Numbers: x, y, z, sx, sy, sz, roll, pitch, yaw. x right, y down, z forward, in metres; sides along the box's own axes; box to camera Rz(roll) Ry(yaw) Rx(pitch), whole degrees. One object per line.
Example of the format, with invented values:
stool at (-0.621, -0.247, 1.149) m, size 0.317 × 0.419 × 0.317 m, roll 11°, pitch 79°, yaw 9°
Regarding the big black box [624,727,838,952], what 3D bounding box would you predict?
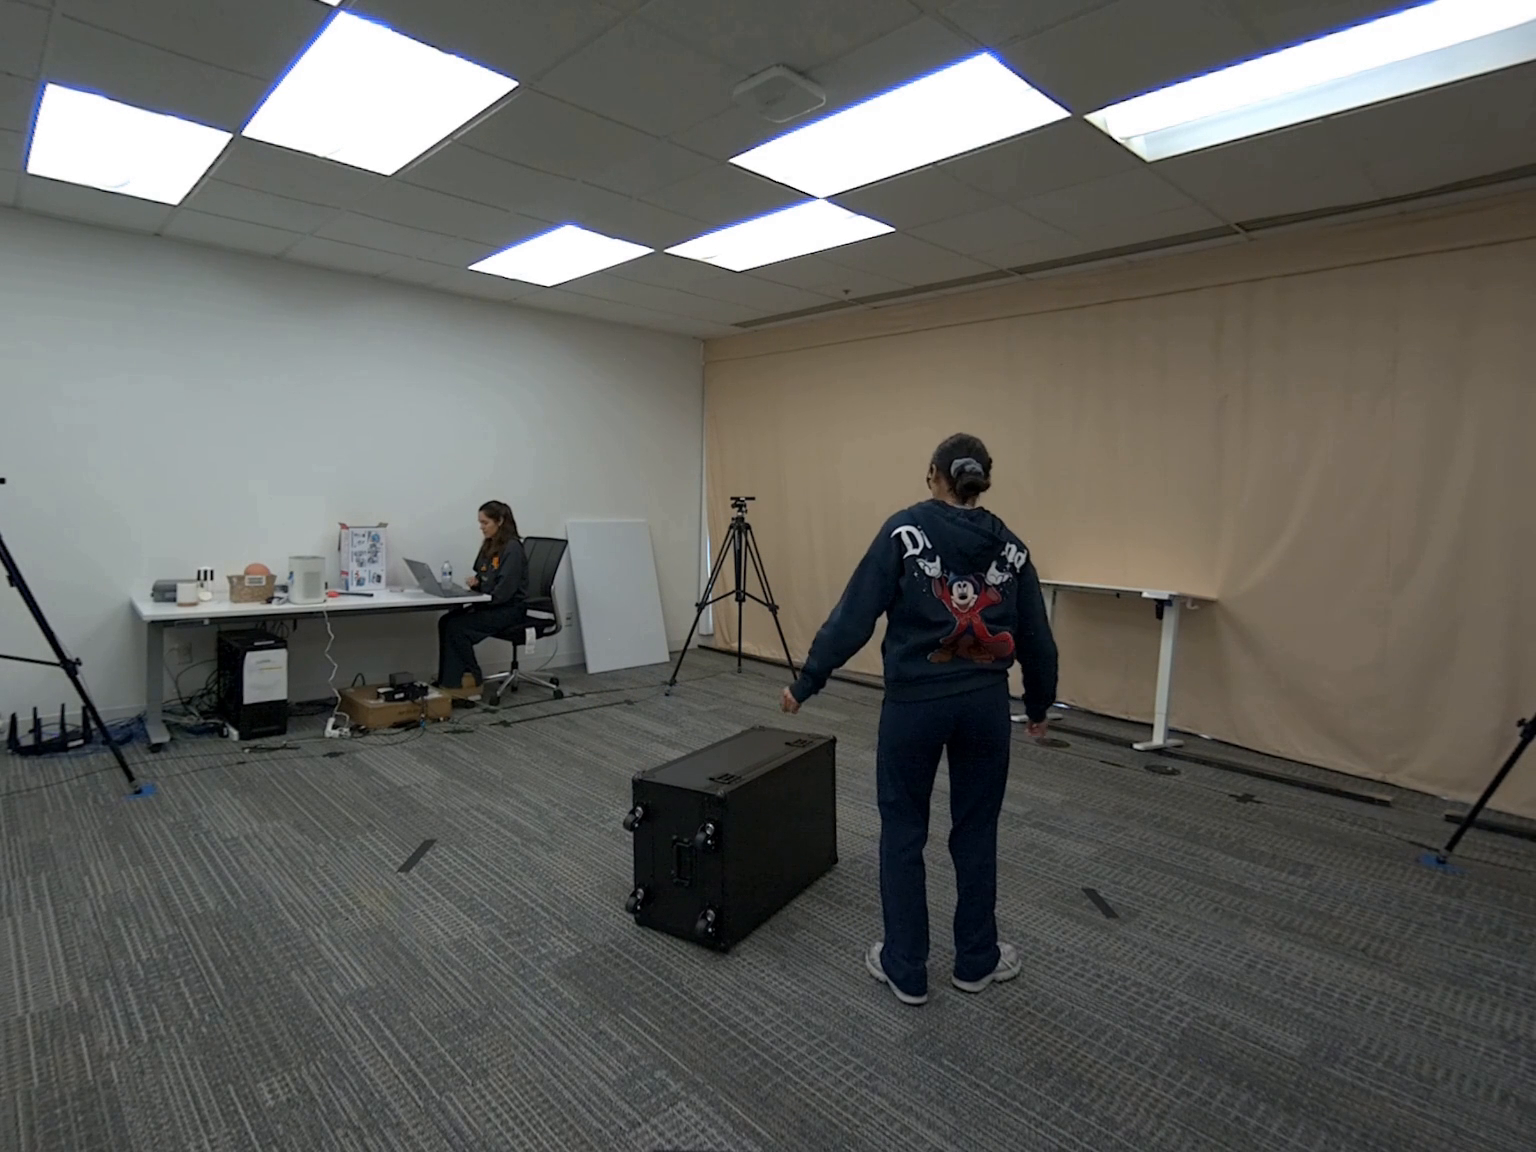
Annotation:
big black box at (-0.121, 0.866, 2.945) m, size 0.405 × 0.520 × 0.845 m, roll 1°, pitch 3°, yaw 31°
